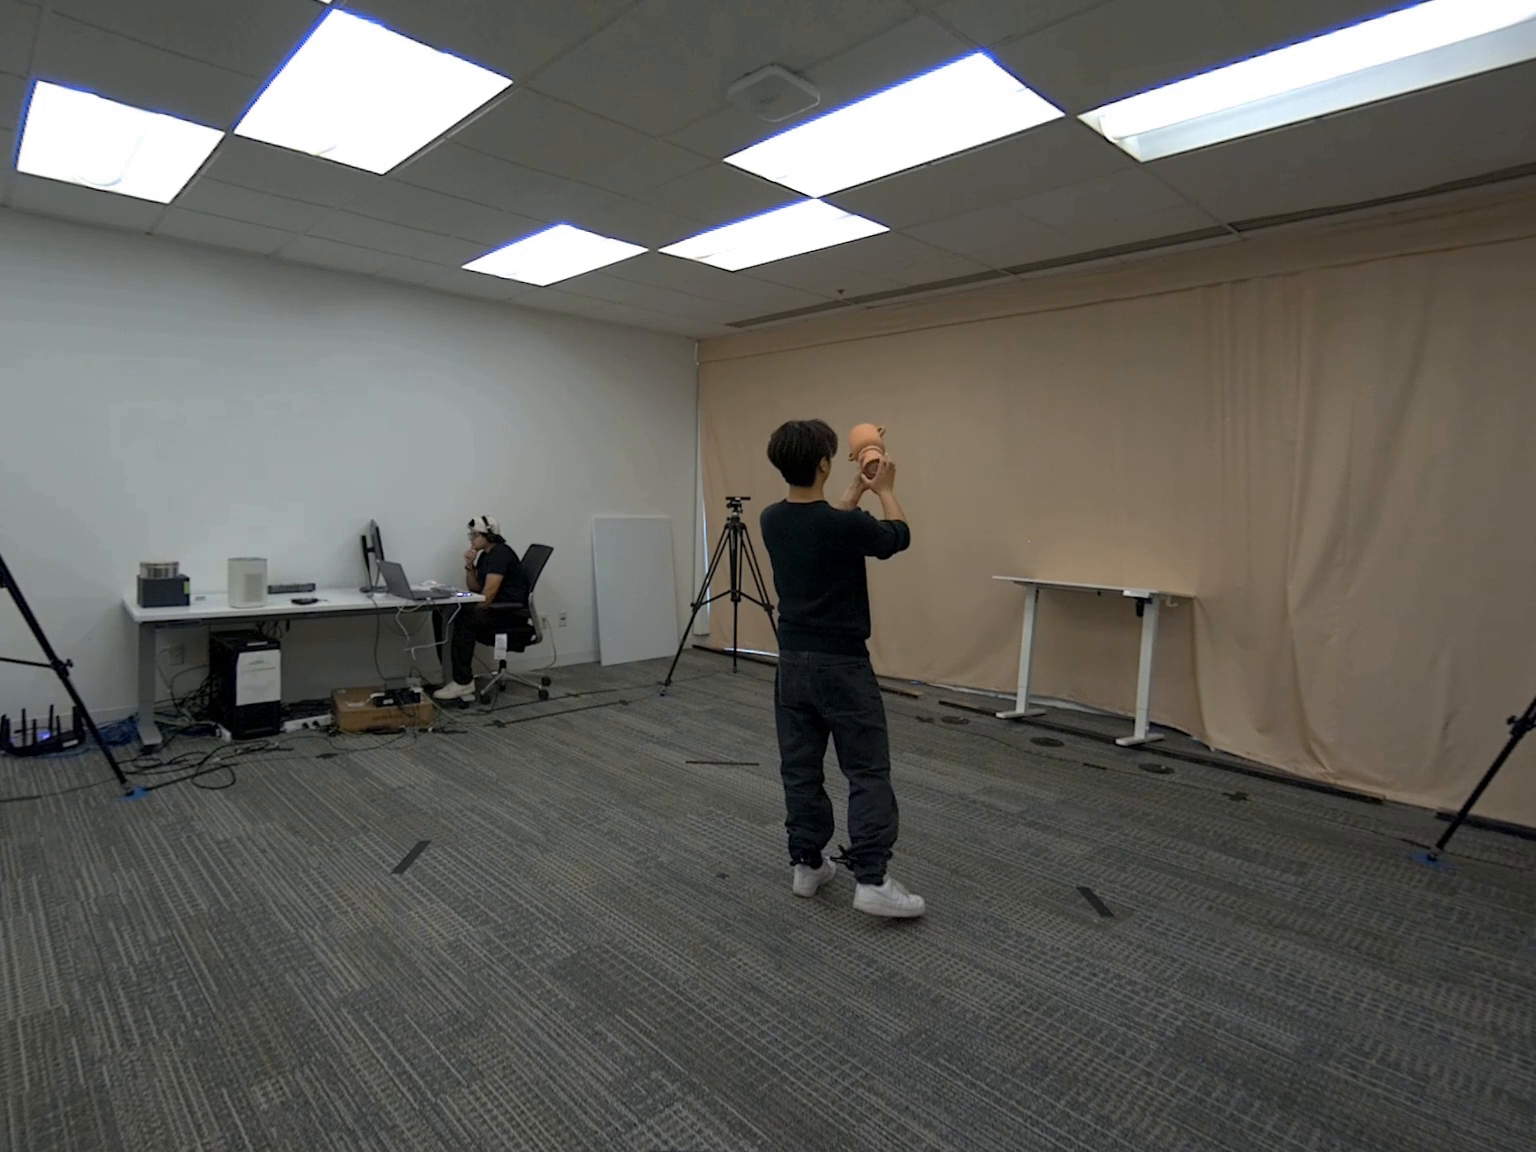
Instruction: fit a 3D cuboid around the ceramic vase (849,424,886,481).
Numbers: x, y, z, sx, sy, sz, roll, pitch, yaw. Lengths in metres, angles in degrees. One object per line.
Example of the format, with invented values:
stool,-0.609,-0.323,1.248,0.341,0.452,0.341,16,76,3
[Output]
ceramic vase,0.398,-0.486,3.333,0.134,0.155,0.225,-1,42,-6
